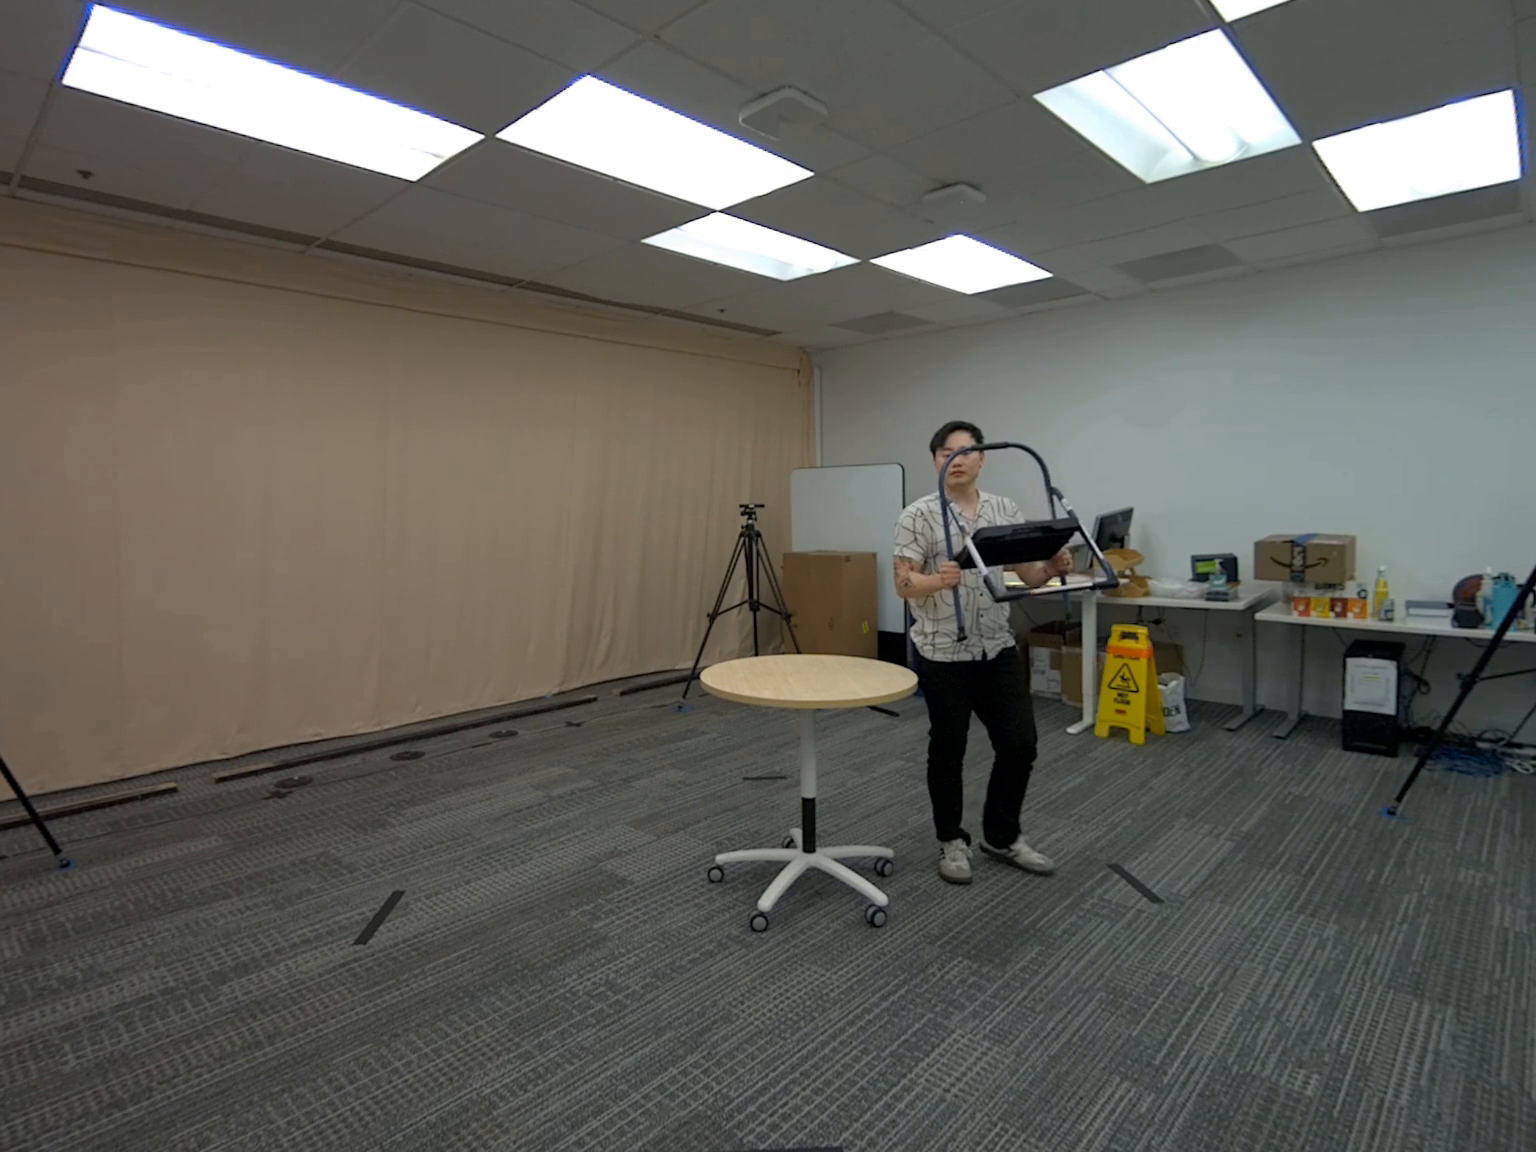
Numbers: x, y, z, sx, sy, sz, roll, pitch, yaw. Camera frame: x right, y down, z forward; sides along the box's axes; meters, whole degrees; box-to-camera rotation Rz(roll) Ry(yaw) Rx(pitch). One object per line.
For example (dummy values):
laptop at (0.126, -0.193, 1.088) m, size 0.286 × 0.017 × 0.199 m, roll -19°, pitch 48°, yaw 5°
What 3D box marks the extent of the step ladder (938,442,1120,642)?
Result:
step ladder at (0.816, -0.147, 2.832) m, size 0.427 × 0.617 × 0.346 m, roll -6°, pitch -25°, yaw -10°
